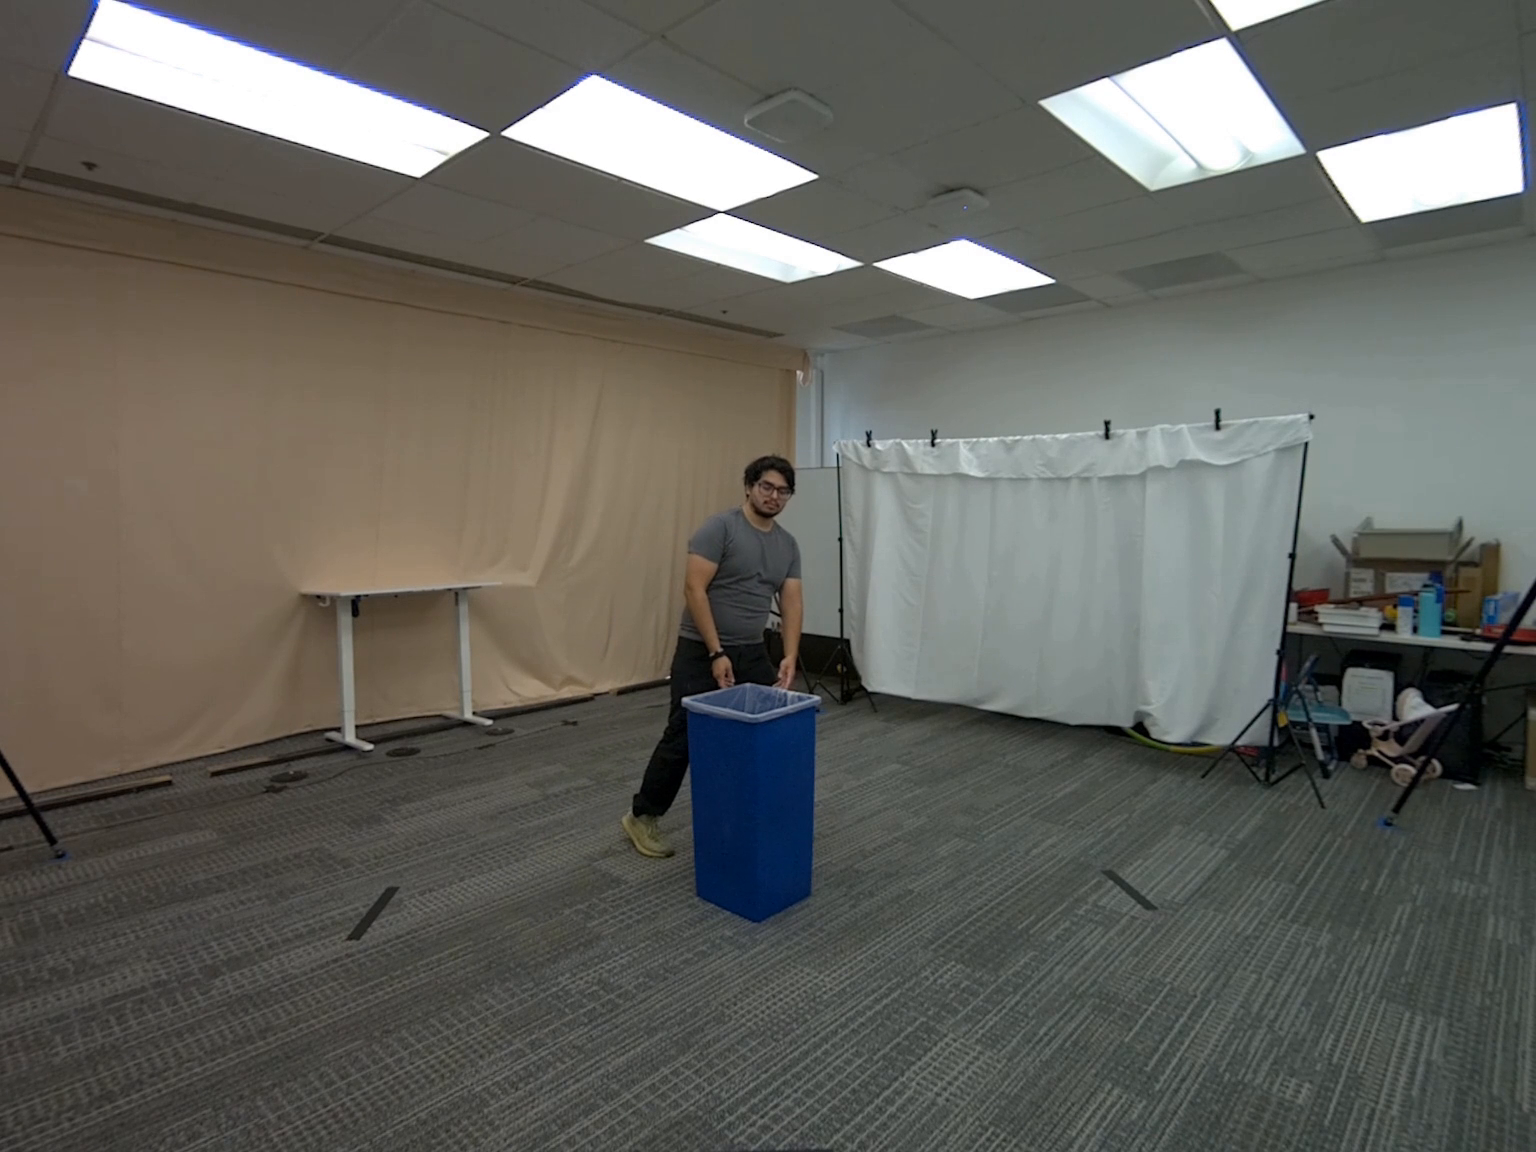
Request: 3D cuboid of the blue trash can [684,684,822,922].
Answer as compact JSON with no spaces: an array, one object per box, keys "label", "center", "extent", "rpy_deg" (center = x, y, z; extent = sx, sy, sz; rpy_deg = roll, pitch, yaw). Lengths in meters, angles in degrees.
[{"label":"blue trash can","center":[-0.044,0.787,2.990],"extent":[0.386,0.712,0.366],"rpy_deg":[2,5,42]}]
